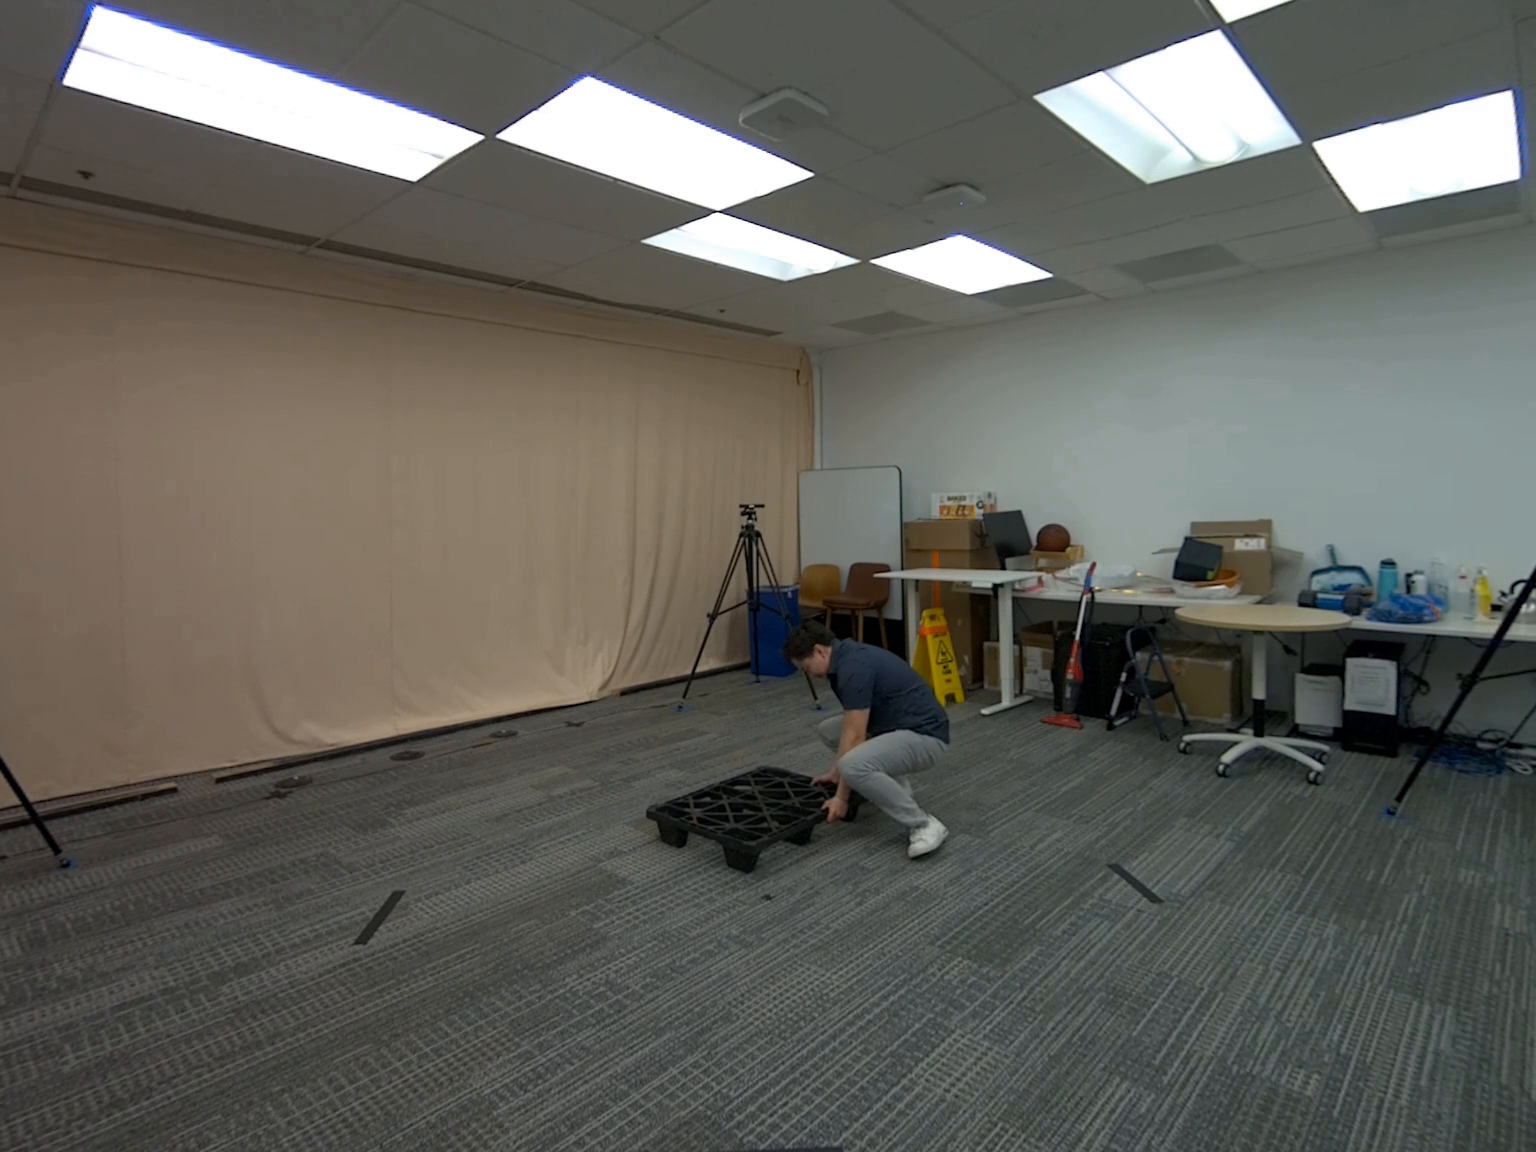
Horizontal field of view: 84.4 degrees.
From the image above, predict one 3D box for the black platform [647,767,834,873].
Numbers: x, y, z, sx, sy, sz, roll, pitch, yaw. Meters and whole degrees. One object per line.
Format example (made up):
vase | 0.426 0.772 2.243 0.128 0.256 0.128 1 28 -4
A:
black platform | -0.035 1.021 3.595 0.625 0.143 0.781 2 5 41
